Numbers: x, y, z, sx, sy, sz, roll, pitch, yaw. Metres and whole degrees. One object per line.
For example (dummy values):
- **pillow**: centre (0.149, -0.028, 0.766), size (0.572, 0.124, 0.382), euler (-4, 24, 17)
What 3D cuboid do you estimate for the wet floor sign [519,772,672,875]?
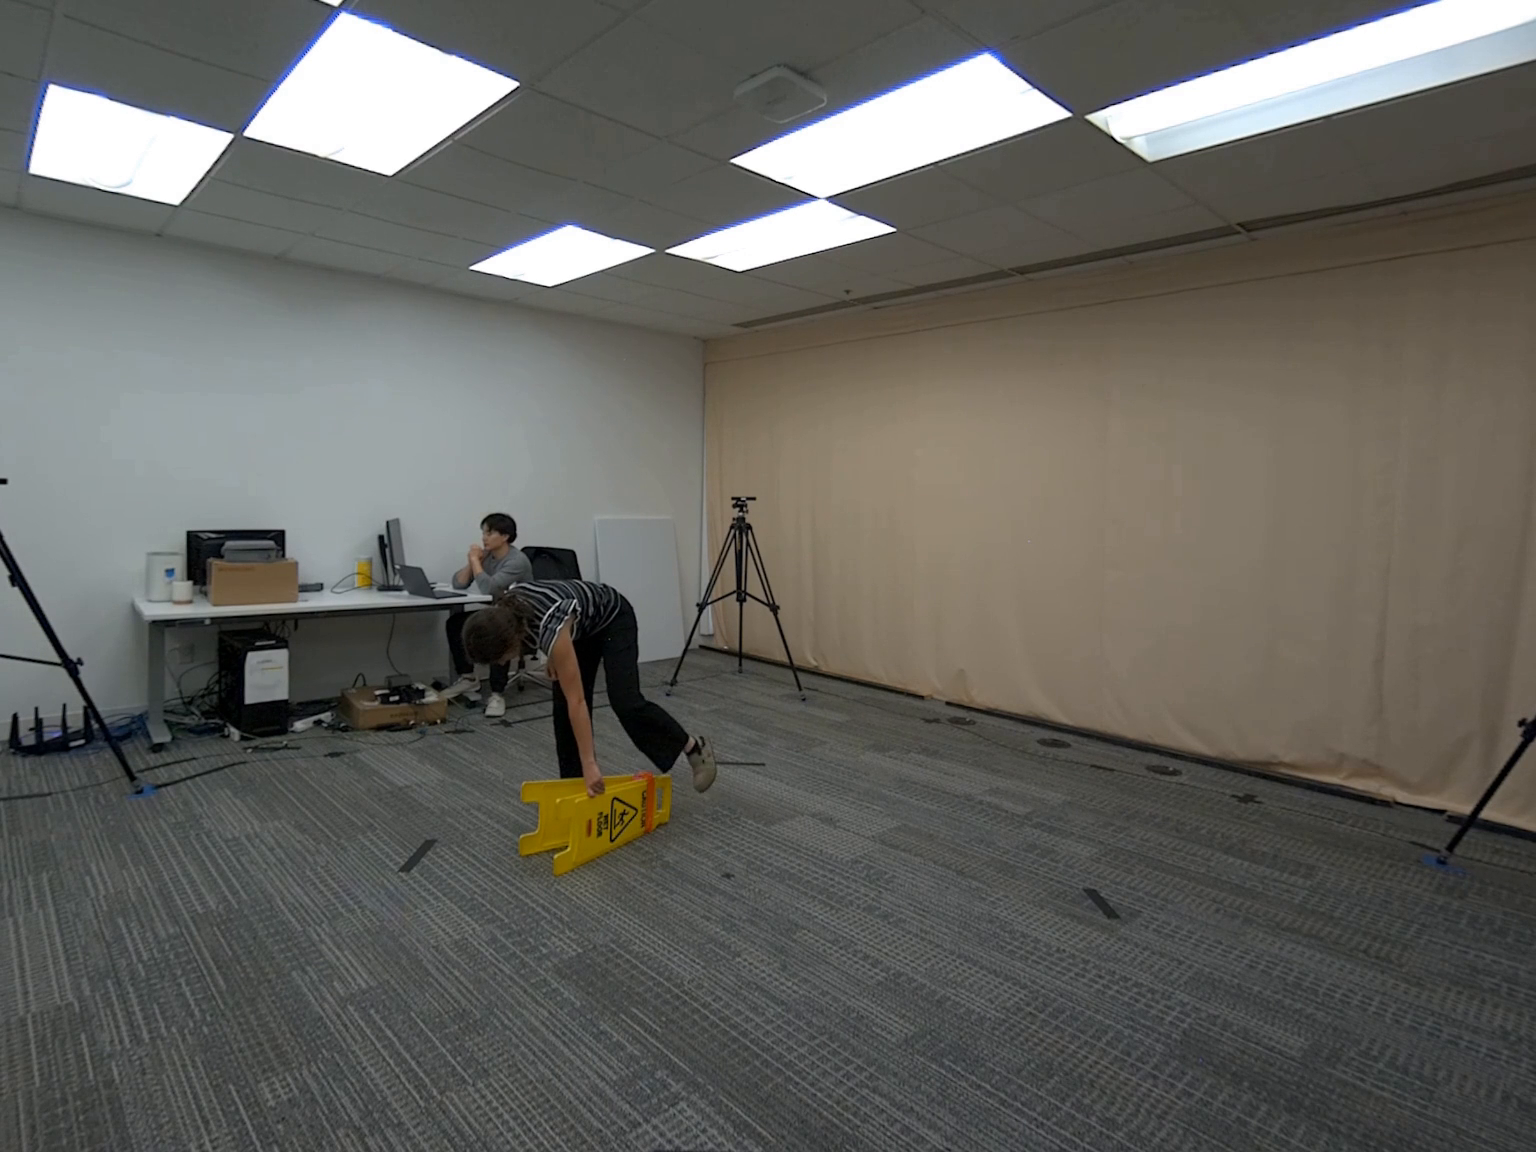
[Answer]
- **wet floor sign**: centre (-0.655, 0.948, 3.380), size (0.297, 0.282, 0.630), euler (4, 3, 44)
